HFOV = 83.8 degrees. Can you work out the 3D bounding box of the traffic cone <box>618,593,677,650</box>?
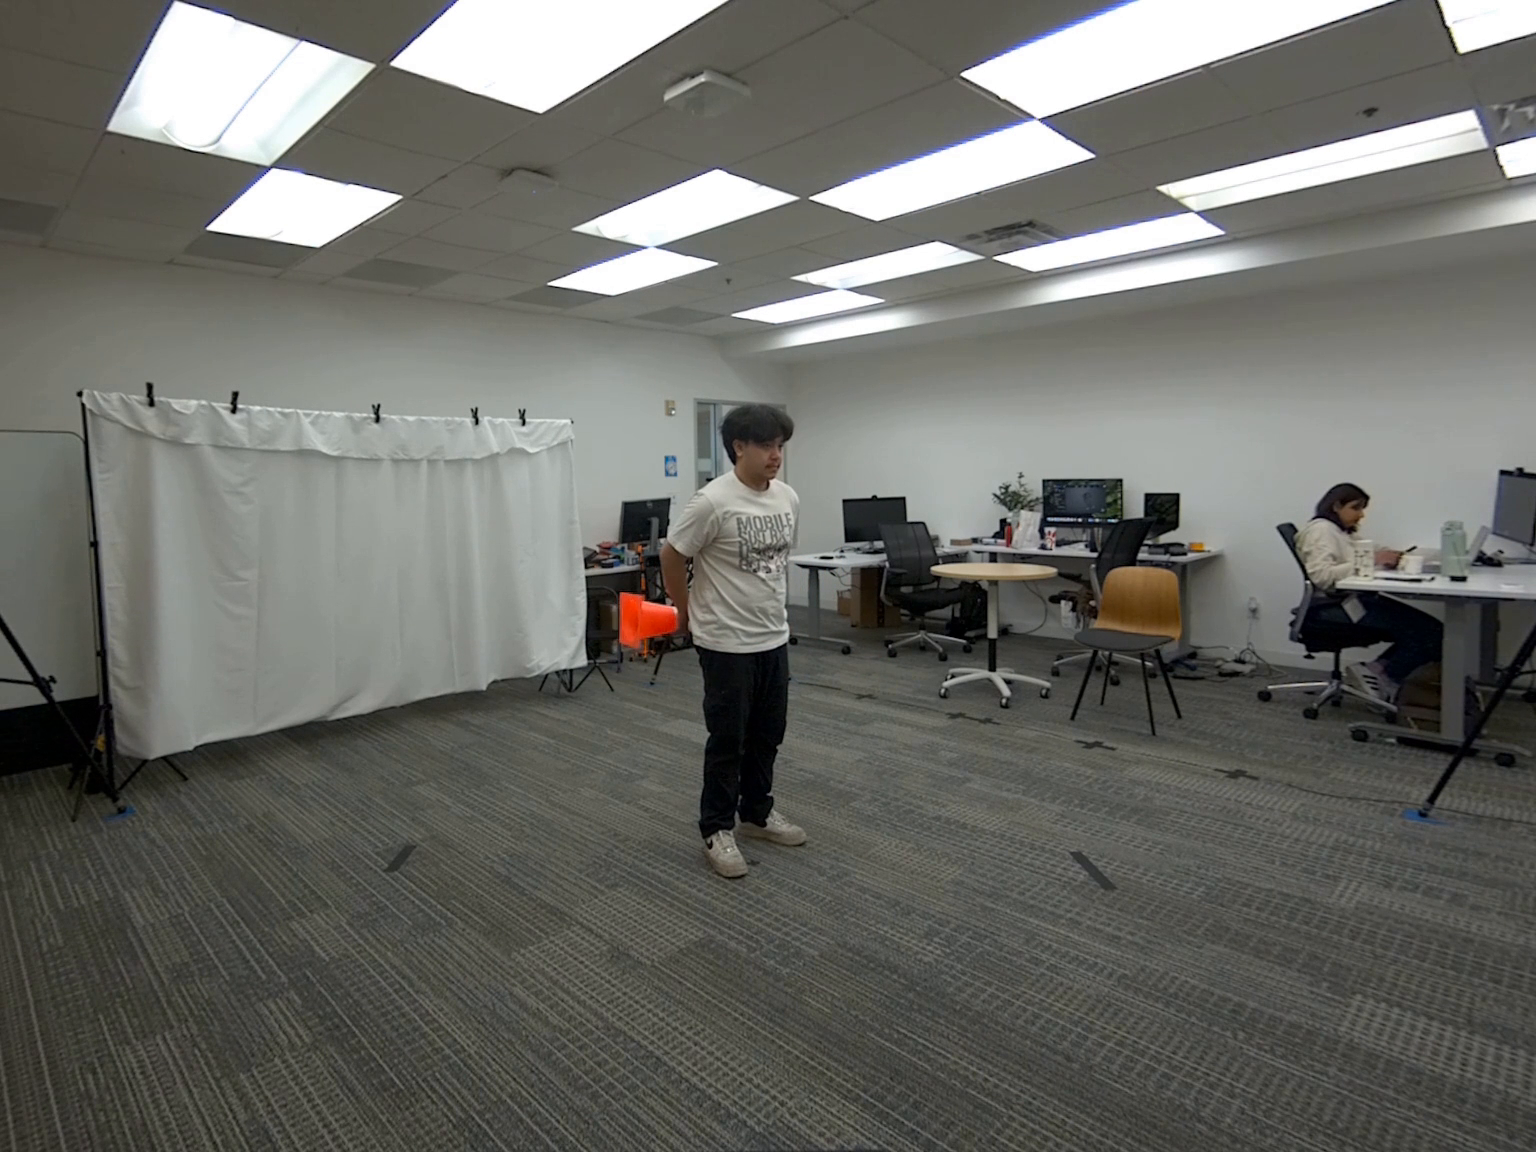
[{"bbox_3d":[-0.362,0.170,3.353,0.374,0.203,0.210,1,0,-29],"label":"traffic cone"}]
